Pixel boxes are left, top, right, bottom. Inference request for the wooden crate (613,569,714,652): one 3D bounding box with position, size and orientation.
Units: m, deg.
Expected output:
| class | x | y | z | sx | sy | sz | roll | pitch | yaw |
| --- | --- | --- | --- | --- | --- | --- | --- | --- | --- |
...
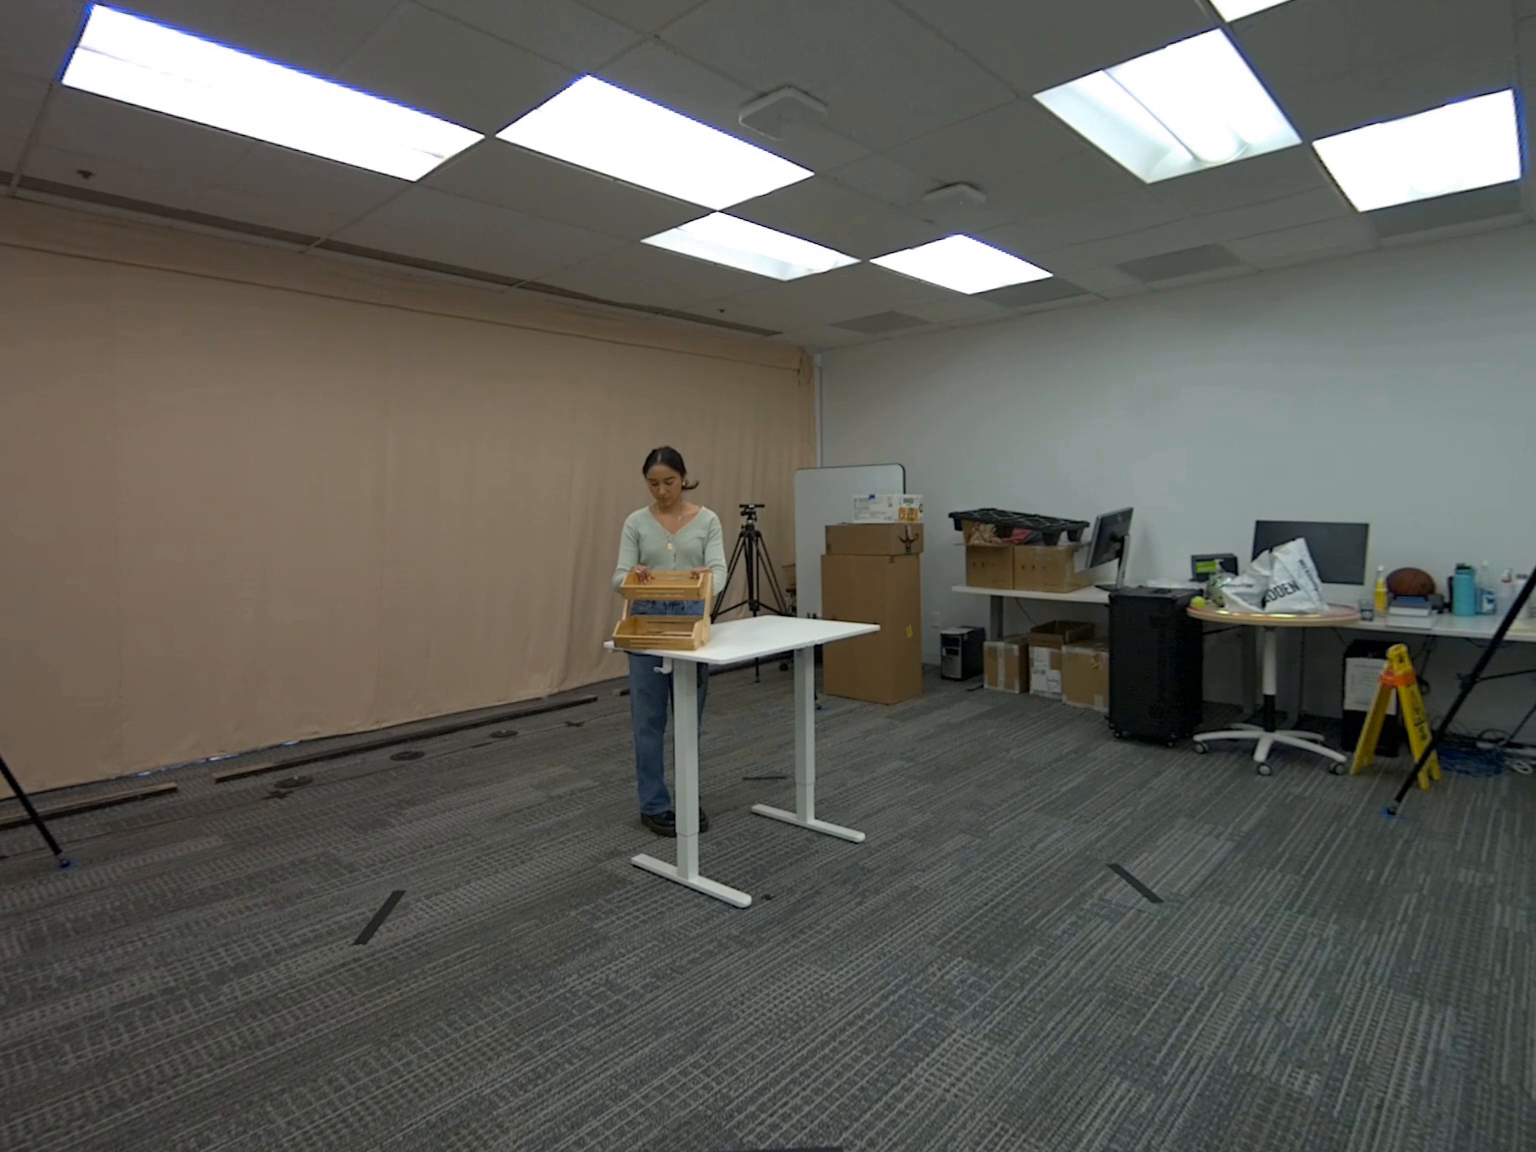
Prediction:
| class | x | y | z | sx | sy | sz | roll | pitch | yaw |
| --- | --- | --- | --- | --- | --- | --- | --- | --- | --- |
| wooden crate | -0.375 | 0.115 | 3.118 | 0.329 | 0.273 | 0.298 | 1 | 4 | 12 |
